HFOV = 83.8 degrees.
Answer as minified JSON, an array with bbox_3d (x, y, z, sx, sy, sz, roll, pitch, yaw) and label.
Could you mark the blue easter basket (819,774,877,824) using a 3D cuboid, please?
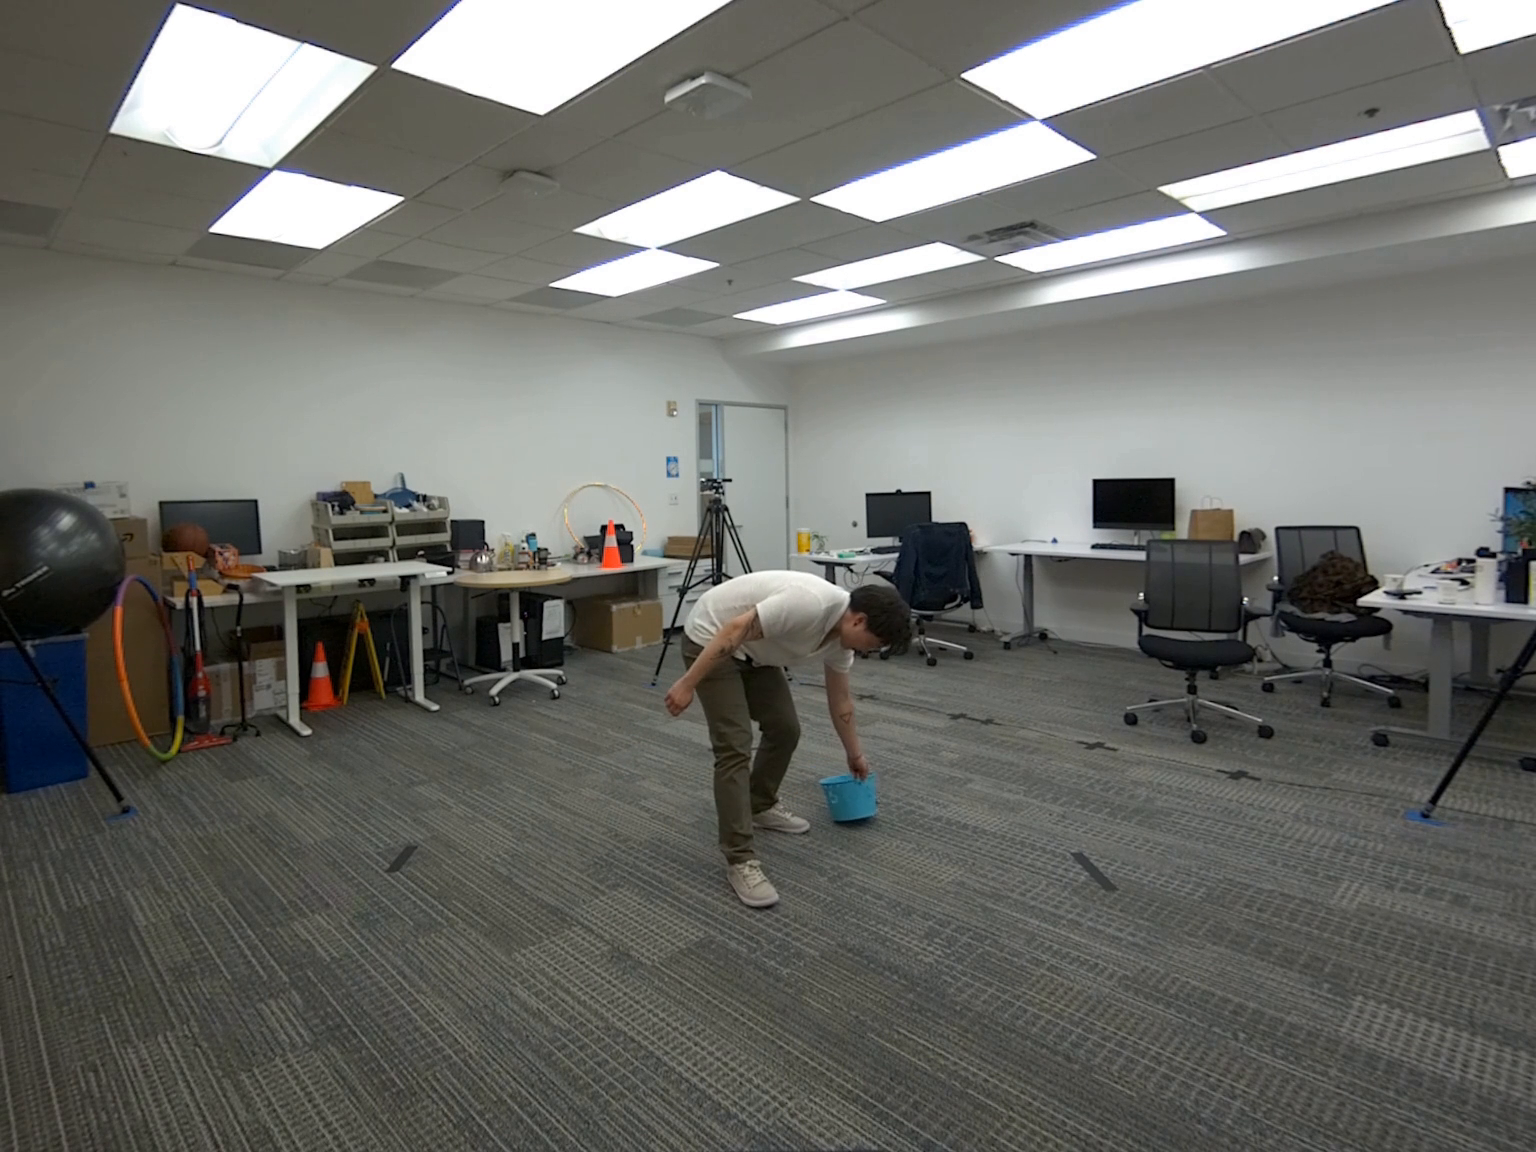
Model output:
[{"bbox_3d":[0.334,0.902,3.475,0.243,0.157,0.242,-11,-6,-3],"label":"blue easter basket"}]
